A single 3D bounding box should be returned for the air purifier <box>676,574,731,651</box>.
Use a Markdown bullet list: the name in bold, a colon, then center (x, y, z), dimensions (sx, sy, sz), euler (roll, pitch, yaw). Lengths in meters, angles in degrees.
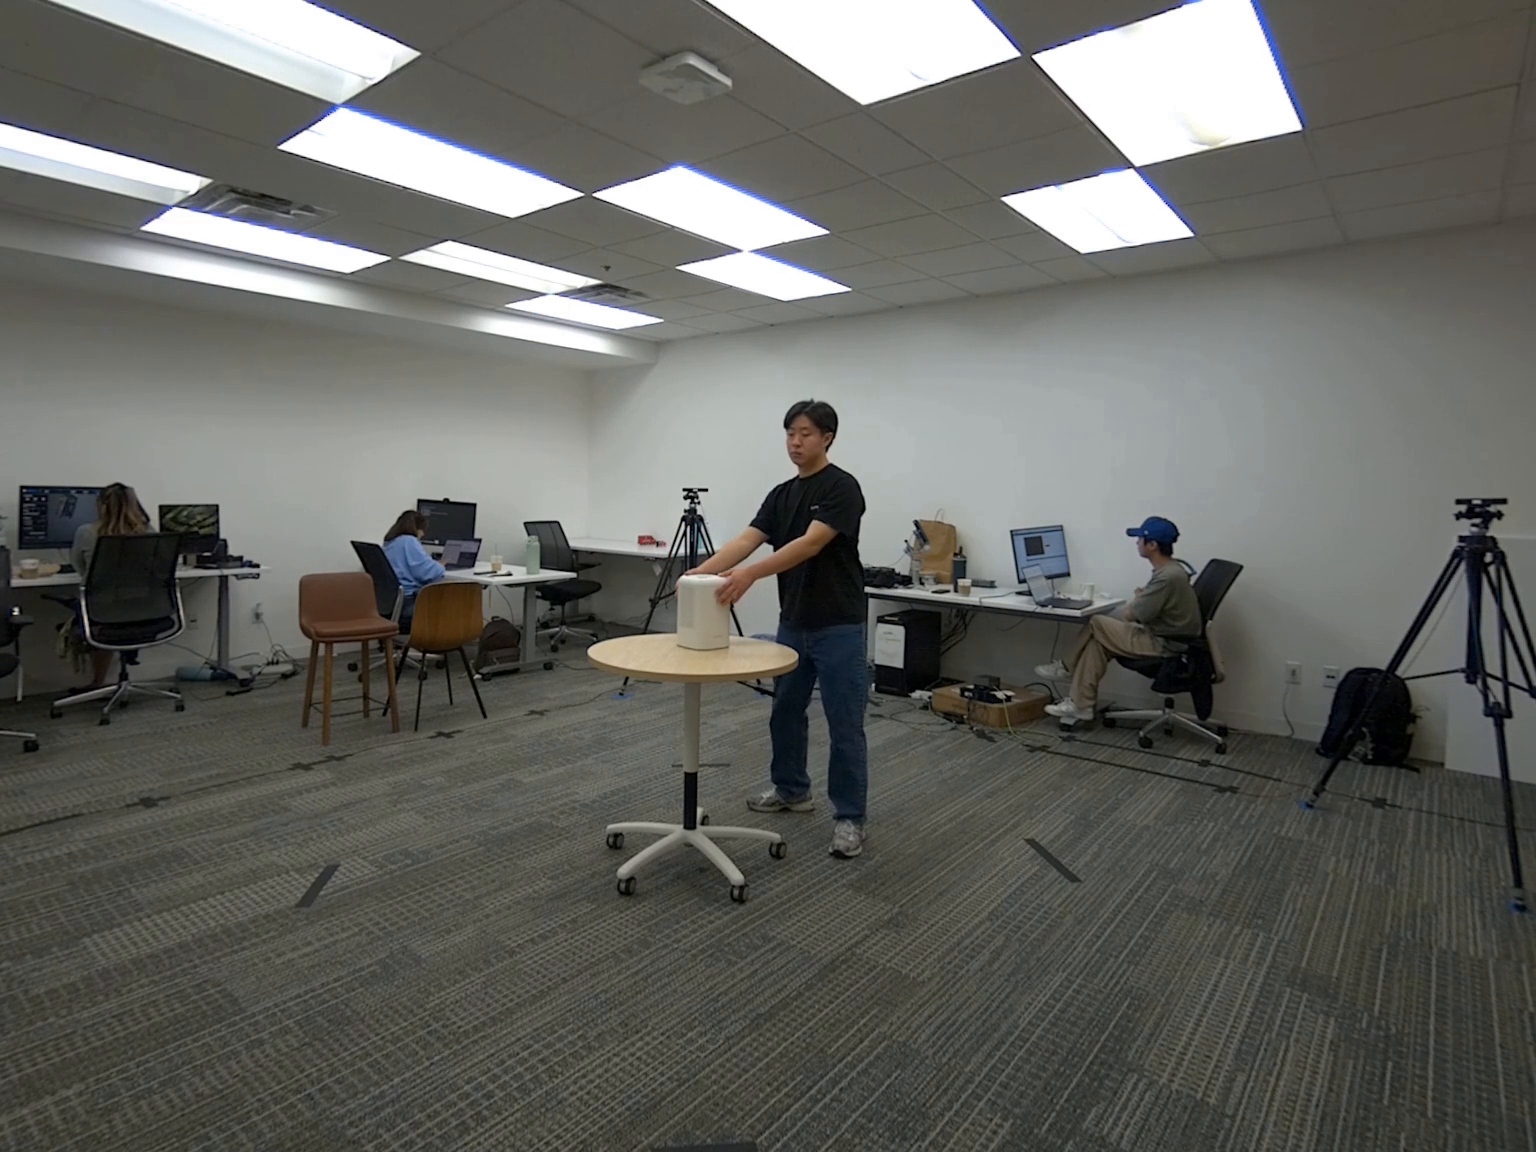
- **air purifier**: center (-0.258, 0.127, 3.214), dimensions (0.166, 0.265, 0.177), euler (0, 3, -39)
